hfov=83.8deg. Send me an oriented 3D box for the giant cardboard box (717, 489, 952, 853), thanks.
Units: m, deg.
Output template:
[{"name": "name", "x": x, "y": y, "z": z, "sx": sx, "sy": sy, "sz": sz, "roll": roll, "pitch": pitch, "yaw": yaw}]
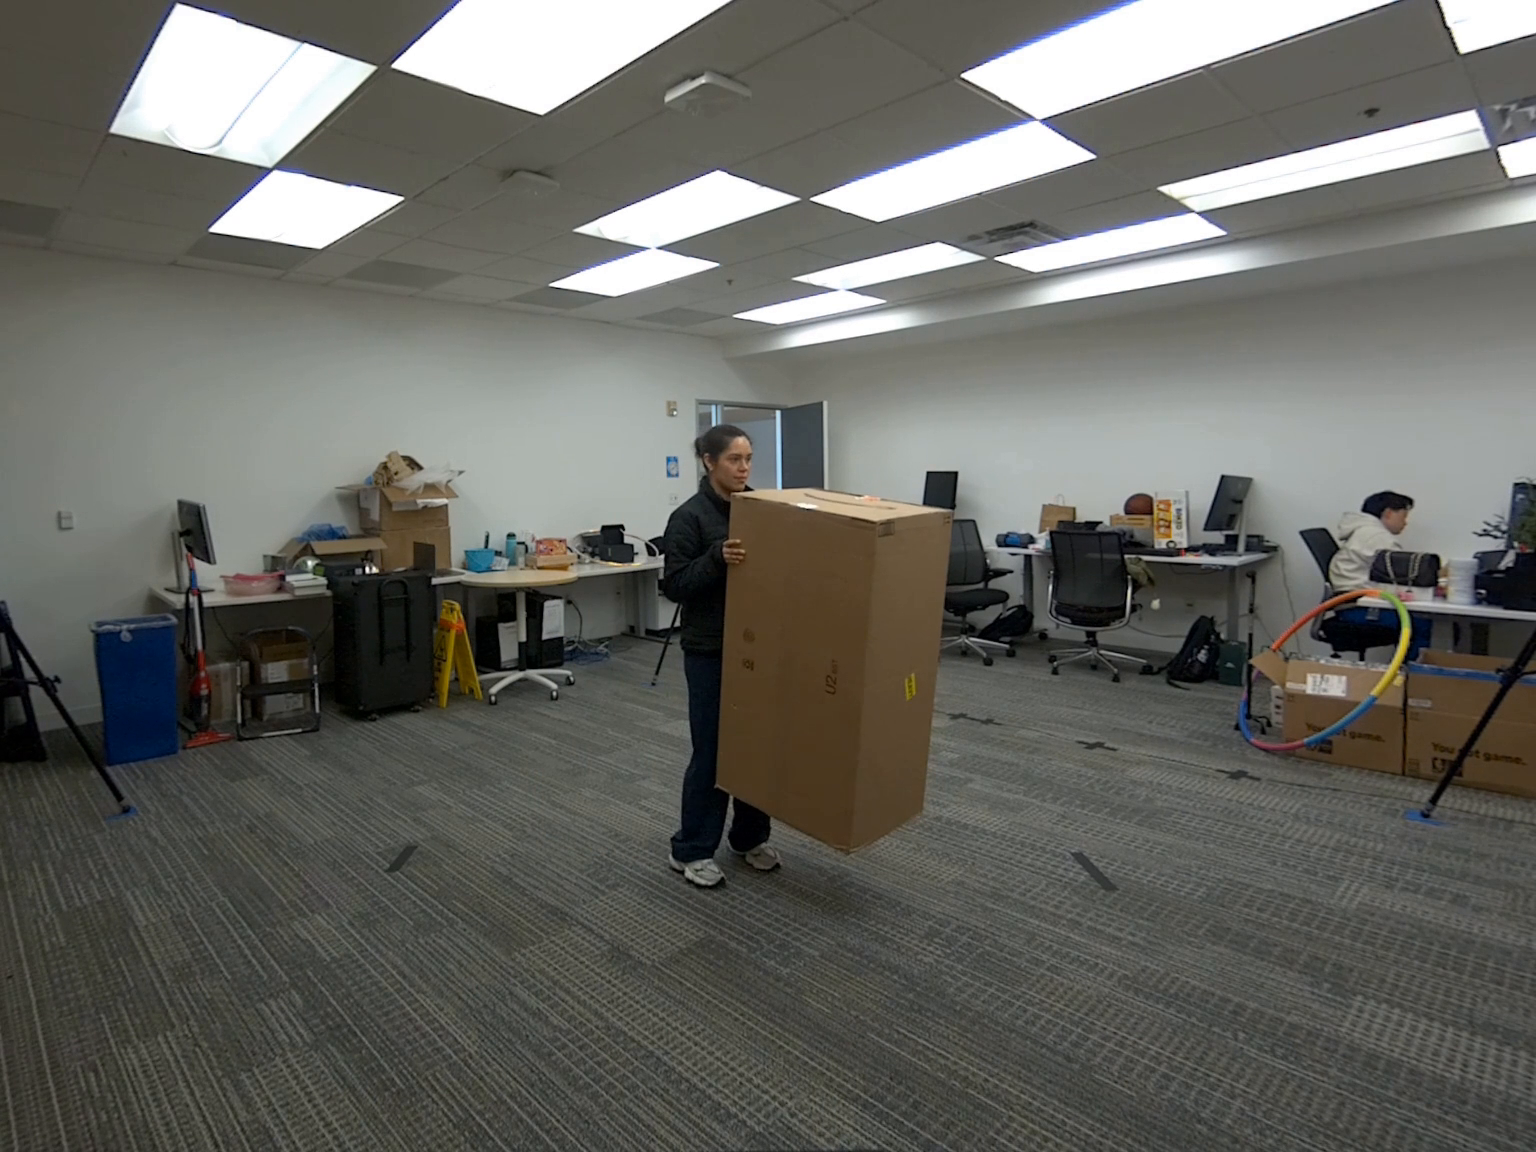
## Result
[{"name": "giant cardboard box", "x": 0.197, "y": 0.265, "z": 2.814, "sx": 0.597, "sy": 1.017, "sz": 0.415, "roll": 13, "pitch": 14, "yaw": 43}]
